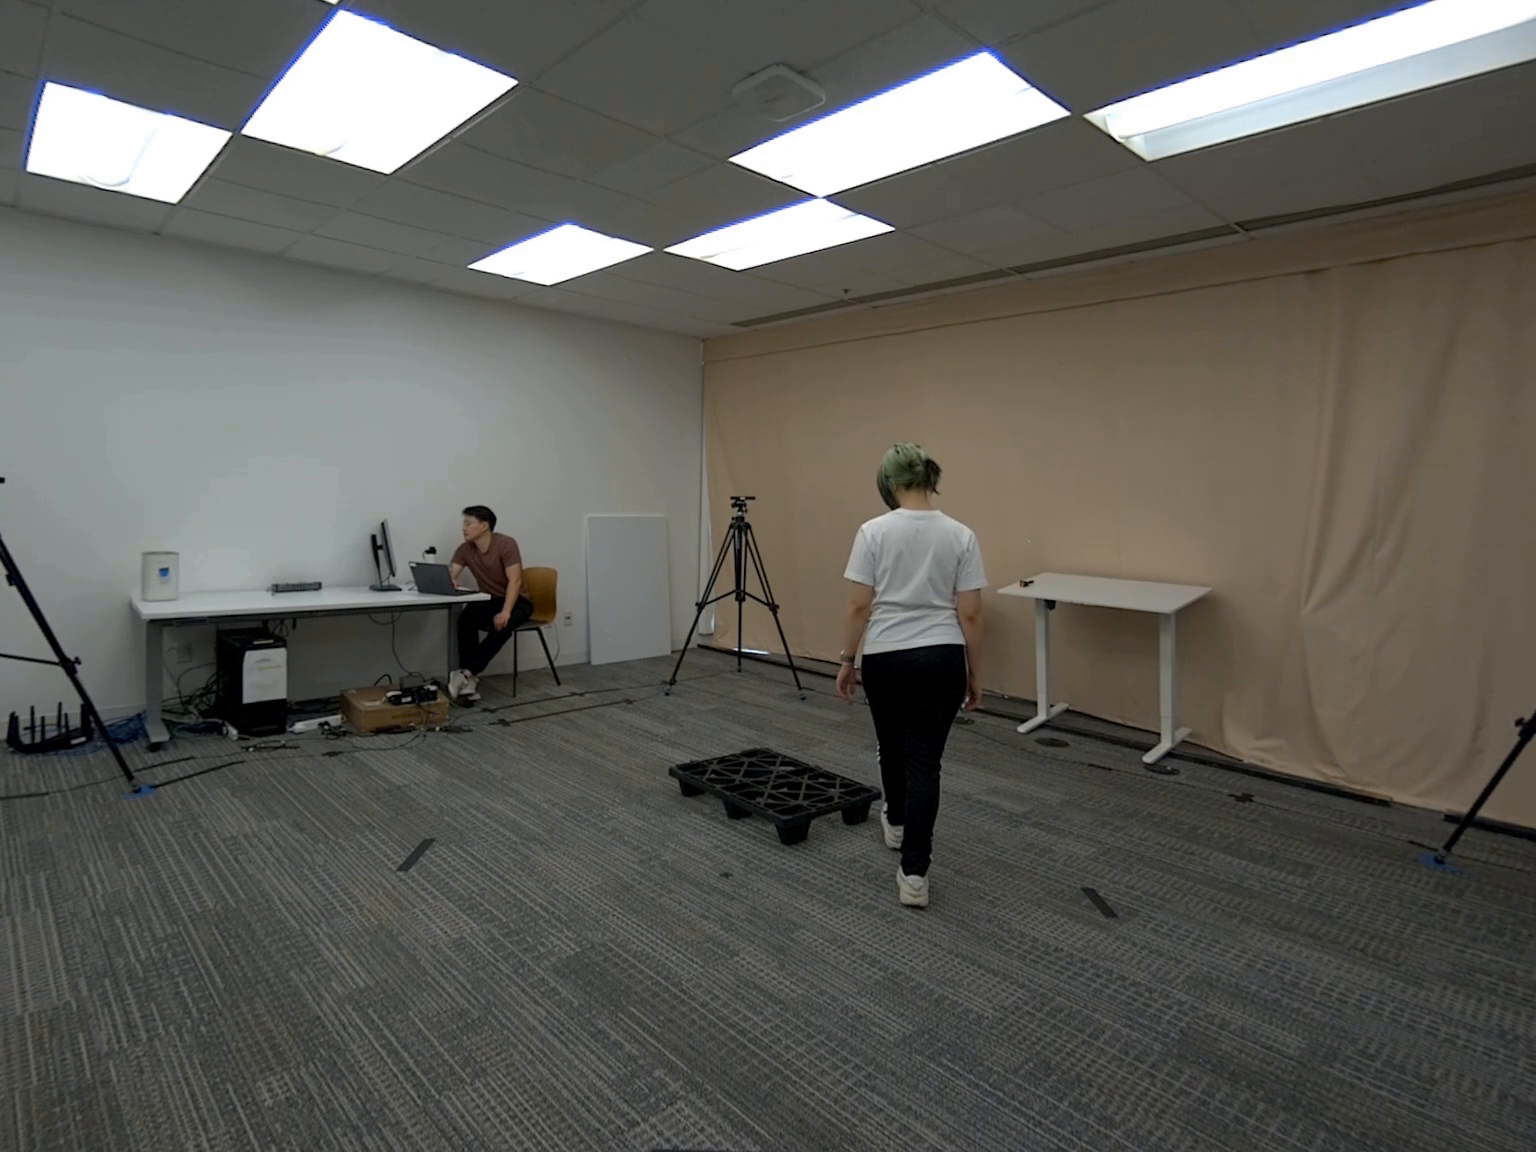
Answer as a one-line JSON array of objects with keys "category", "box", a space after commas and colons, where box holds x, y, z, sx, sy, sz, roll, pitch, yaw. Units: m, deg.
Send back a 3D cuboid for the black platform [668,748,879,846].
[{"category": "black platform", "box": [0.003, 0.982, 3.807, 0.591, 0.143, 0.826, -3, 7, -40]}]
